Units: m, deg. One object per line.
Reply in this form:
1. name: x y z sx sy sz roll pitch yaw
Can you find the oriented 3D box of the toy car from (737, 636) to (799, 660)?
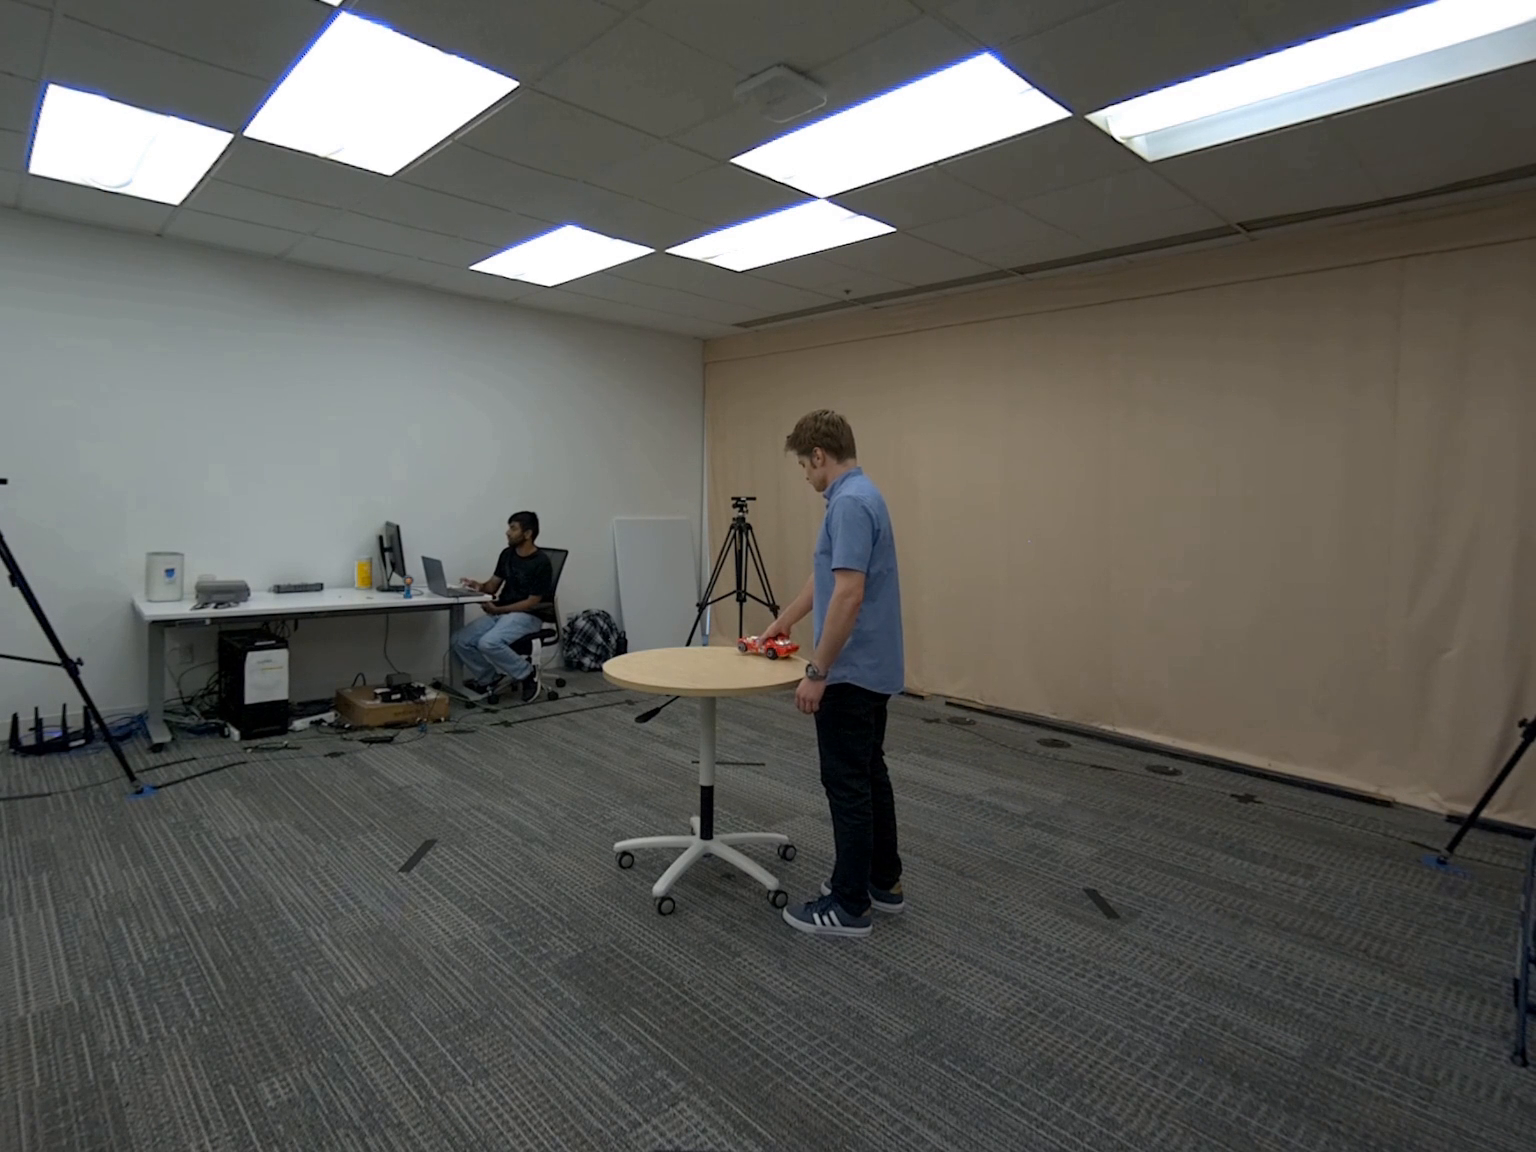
1. toy car: -0.002 0.277 3.245 0.260 0.083 0.127 -5 1 40
